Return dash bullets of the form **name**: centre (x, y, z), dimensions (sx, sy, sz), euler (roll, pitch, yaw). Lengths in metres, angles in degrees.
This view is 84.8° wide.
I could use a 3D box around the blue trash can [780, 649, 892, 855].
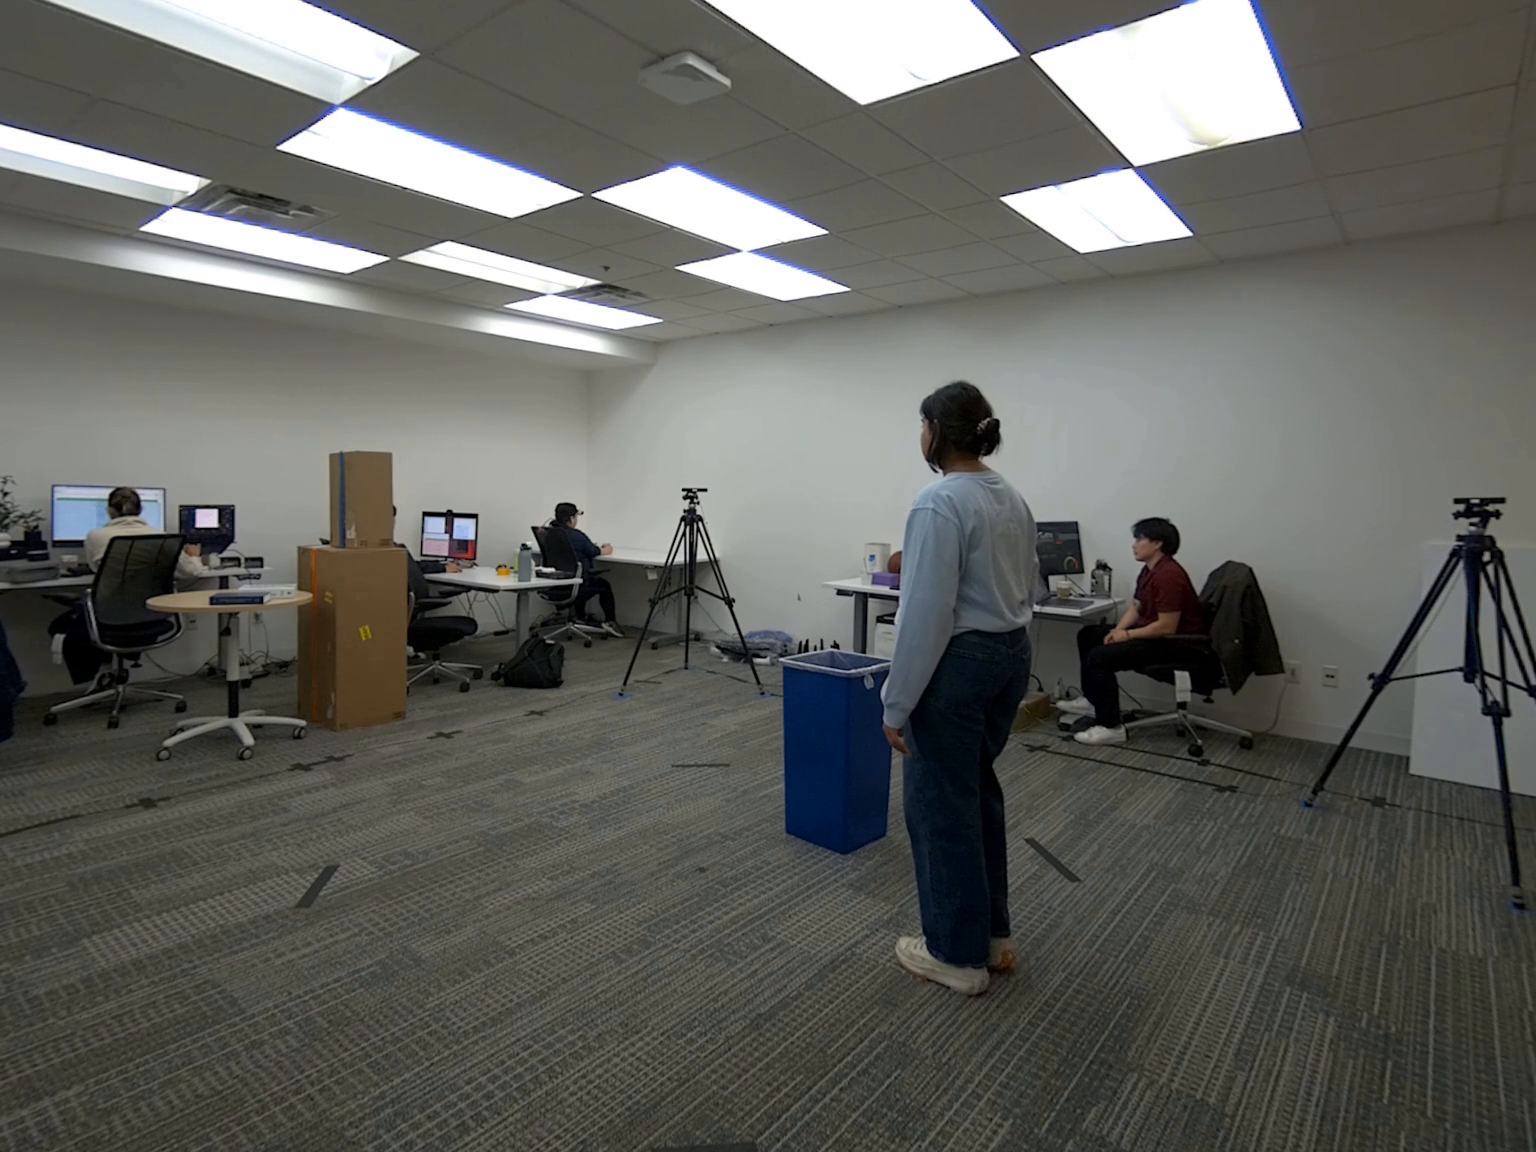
- **blue trash can**: centre (0.265, 0.688, 3.453), dimensions (0.387, 0.712, 0.366), euler (3, 4, 42)
